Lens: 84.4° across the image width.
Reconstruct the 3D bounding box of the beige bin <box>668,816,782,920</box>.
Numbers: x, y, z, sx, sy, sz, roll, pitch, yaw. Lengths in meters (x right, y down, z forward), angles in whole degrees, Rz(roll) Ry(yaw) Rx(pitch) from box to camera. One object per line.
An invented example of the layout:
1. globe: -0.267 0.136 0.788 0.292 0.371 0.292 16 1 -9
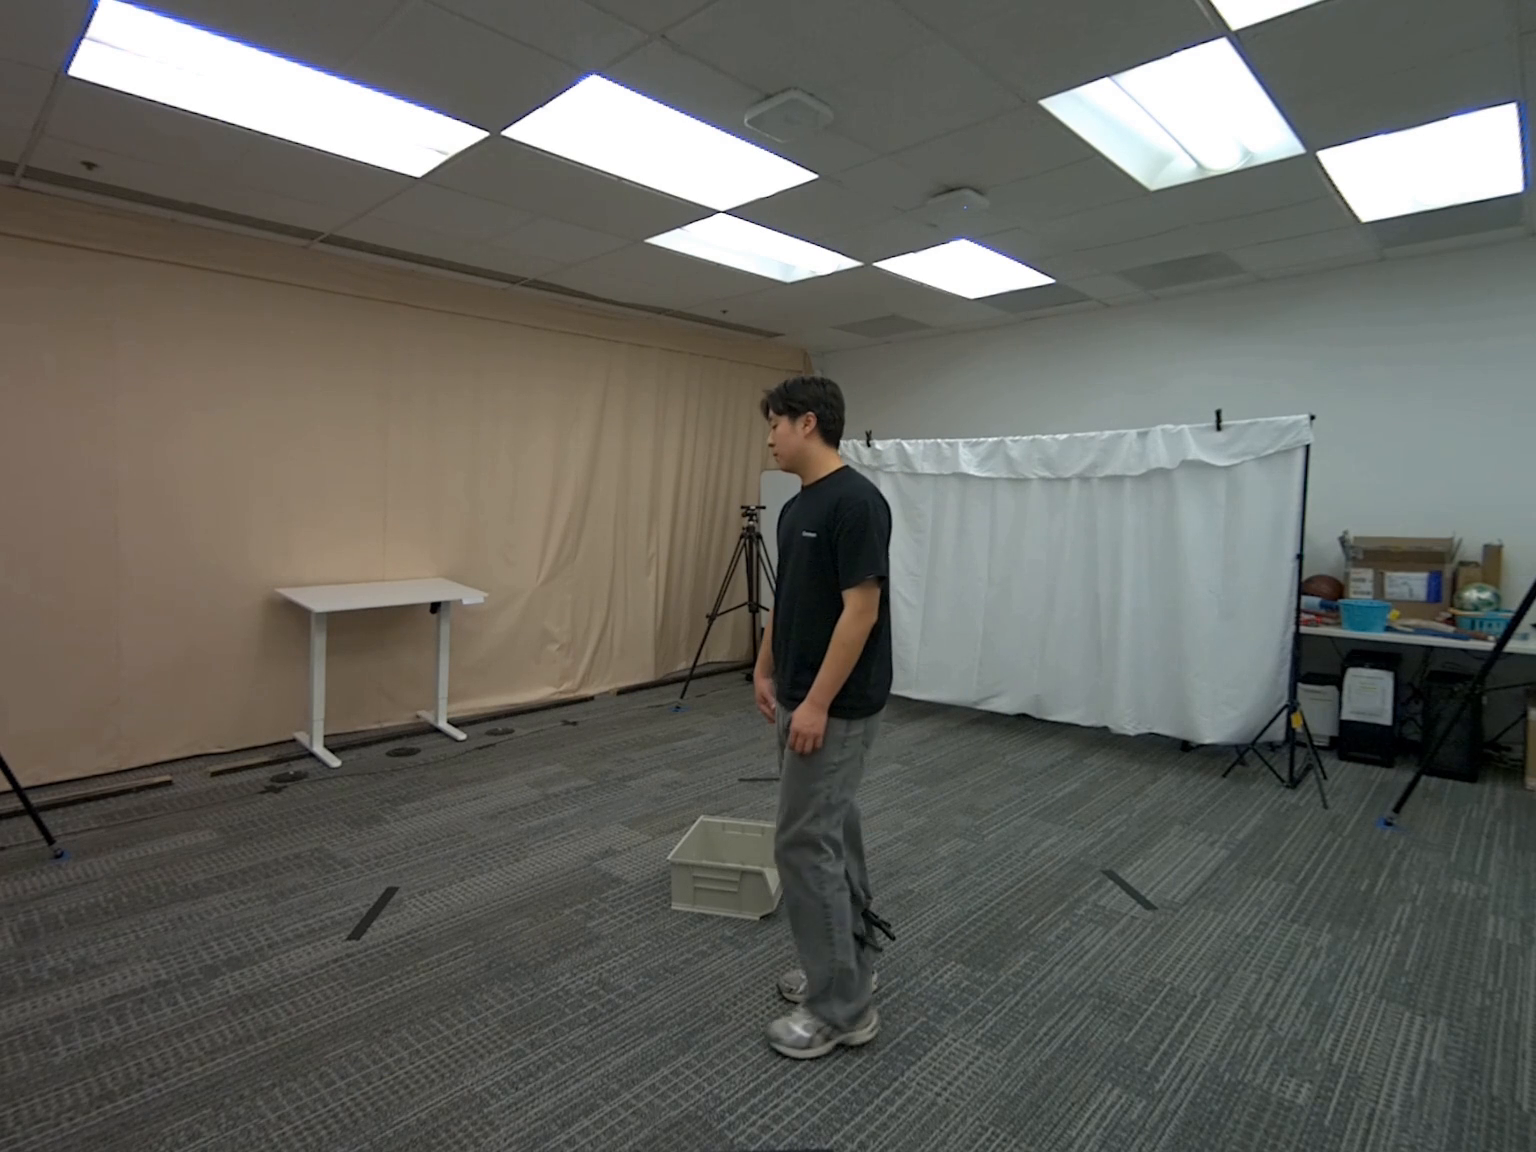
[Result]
1. beige bin: -0.119 1.049 3.055 0.383 0.188 0.417 0 5 13
